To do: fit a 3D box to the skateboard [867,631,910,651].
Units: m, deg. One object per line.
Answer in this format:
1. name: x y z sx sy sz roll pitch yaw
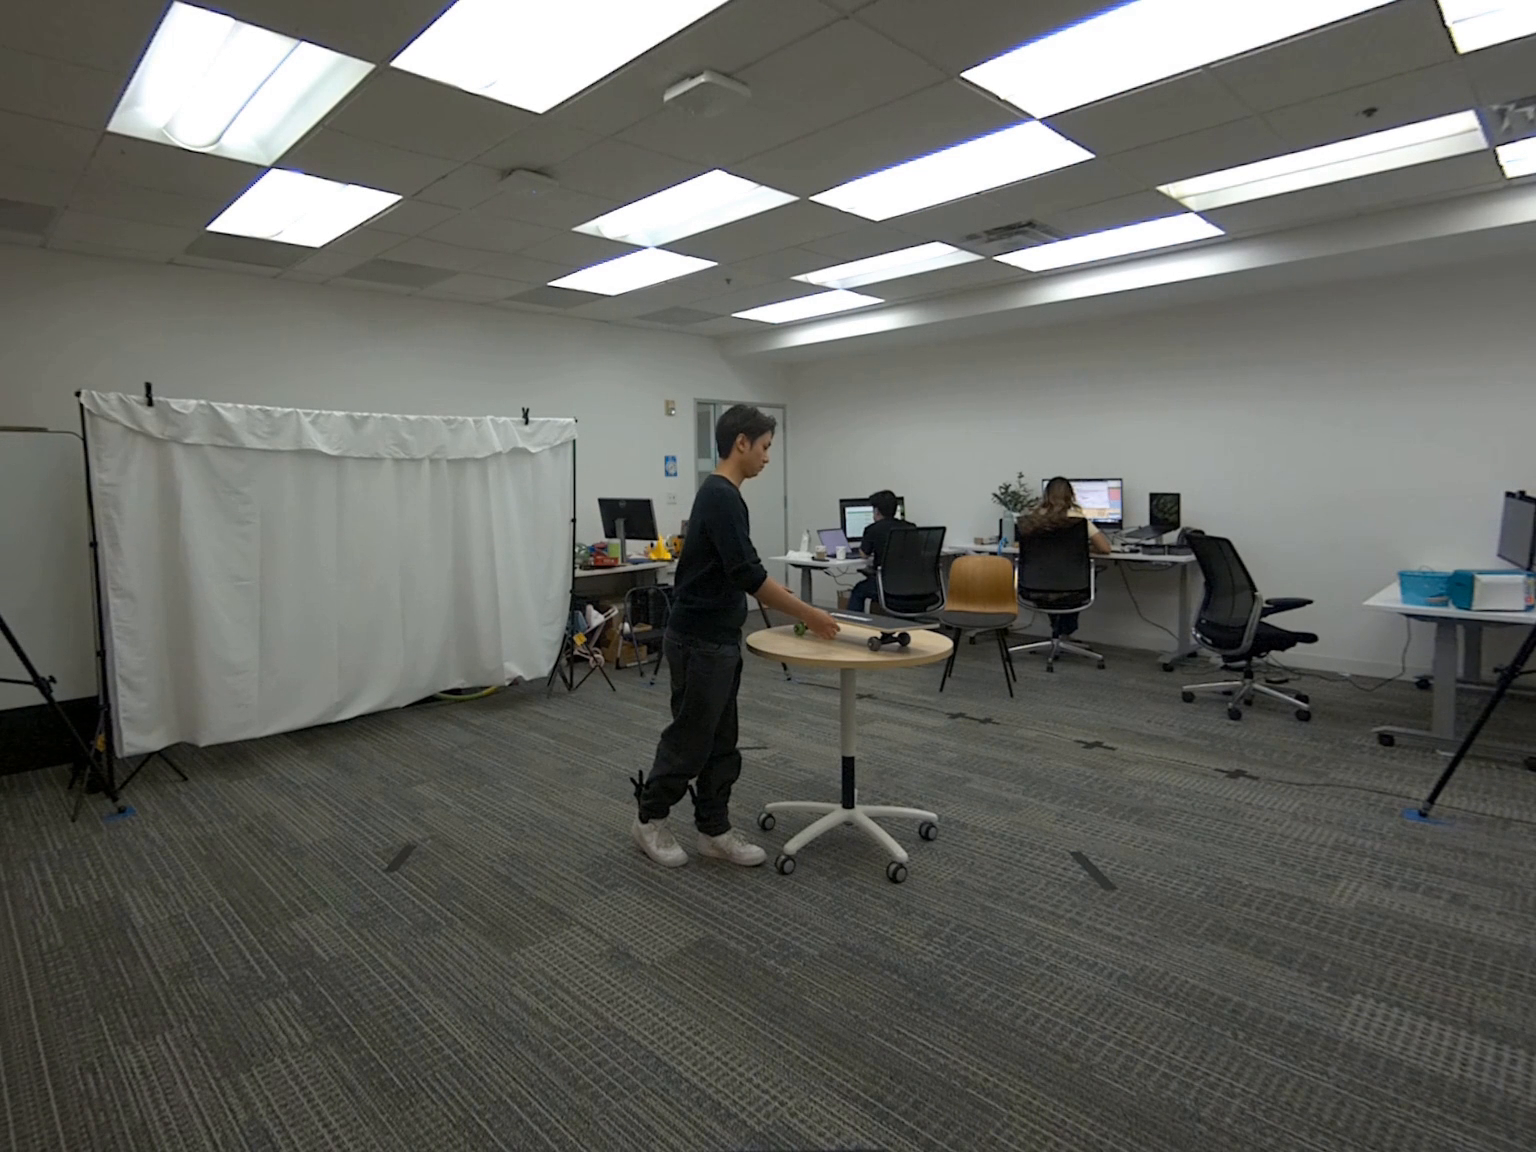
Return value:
1. skateboard: 0.306 0.189 3.193 0.188 0.110 0.810 -4 7 -38
